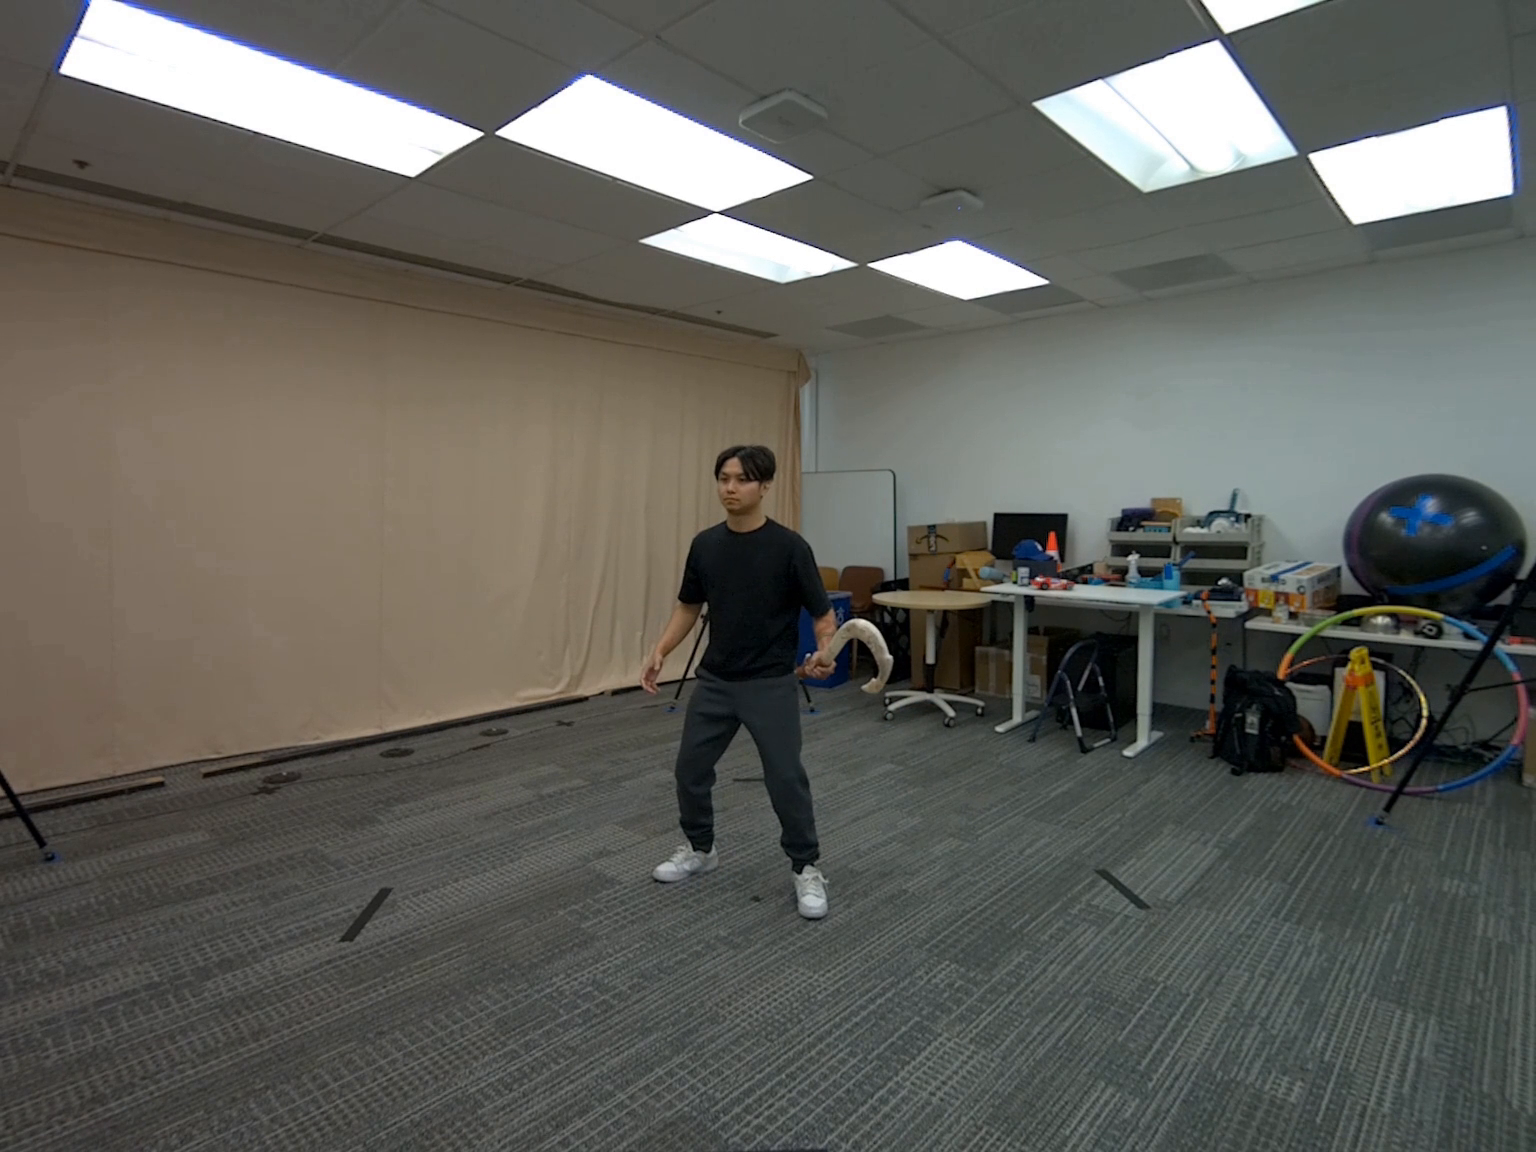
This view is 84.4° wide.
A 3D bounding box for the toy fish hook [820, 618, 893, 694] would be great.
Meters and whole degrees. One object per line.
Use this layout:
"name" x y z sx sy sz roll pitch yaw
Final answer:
"toy fish hook" 0.216 0.287 2.649 0.047 0.228 0.511 -12 -16 -29
